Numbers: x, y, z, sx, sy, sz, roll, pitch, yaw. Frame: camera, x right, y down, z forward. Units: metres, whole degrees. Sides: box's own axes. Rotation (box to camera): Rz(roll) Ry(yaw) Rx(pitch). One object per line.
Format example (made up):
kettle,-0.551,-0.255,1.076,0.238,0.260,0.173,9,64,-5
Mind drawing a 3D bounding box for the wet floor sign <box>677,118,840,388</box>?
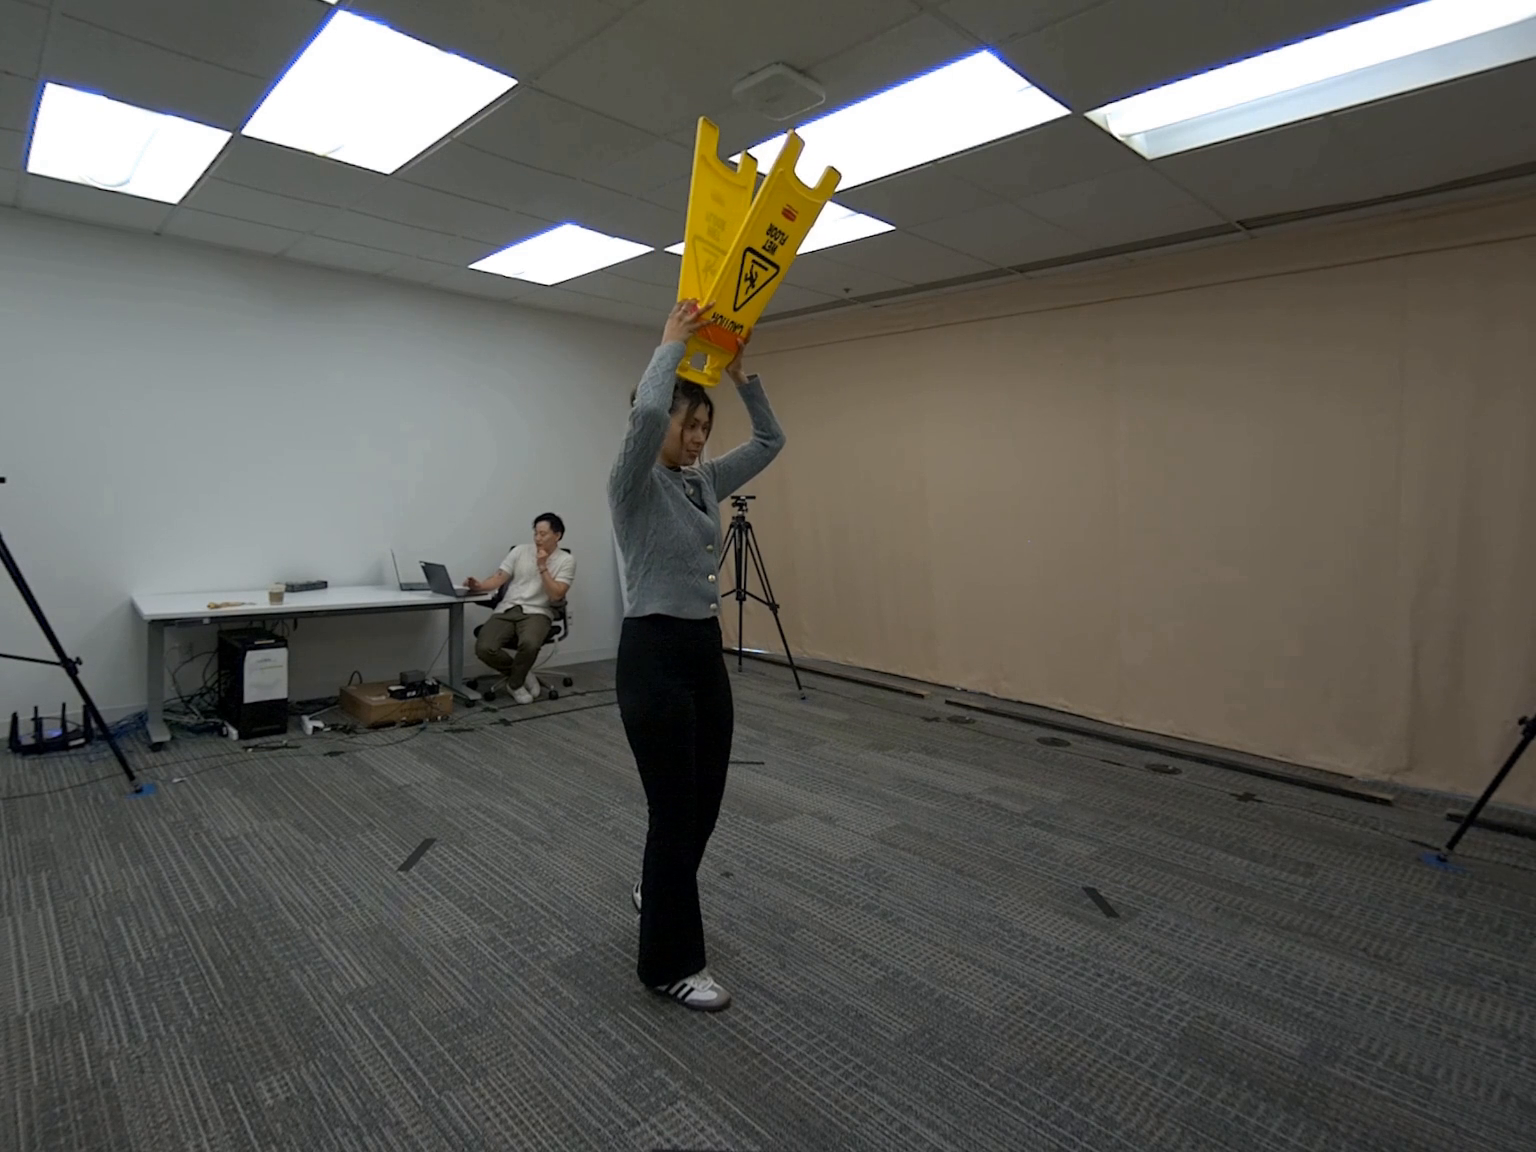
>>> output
wet floor sign,-0.104,-0.829,2.255,0.298,0.643,0.276,28,13,30
